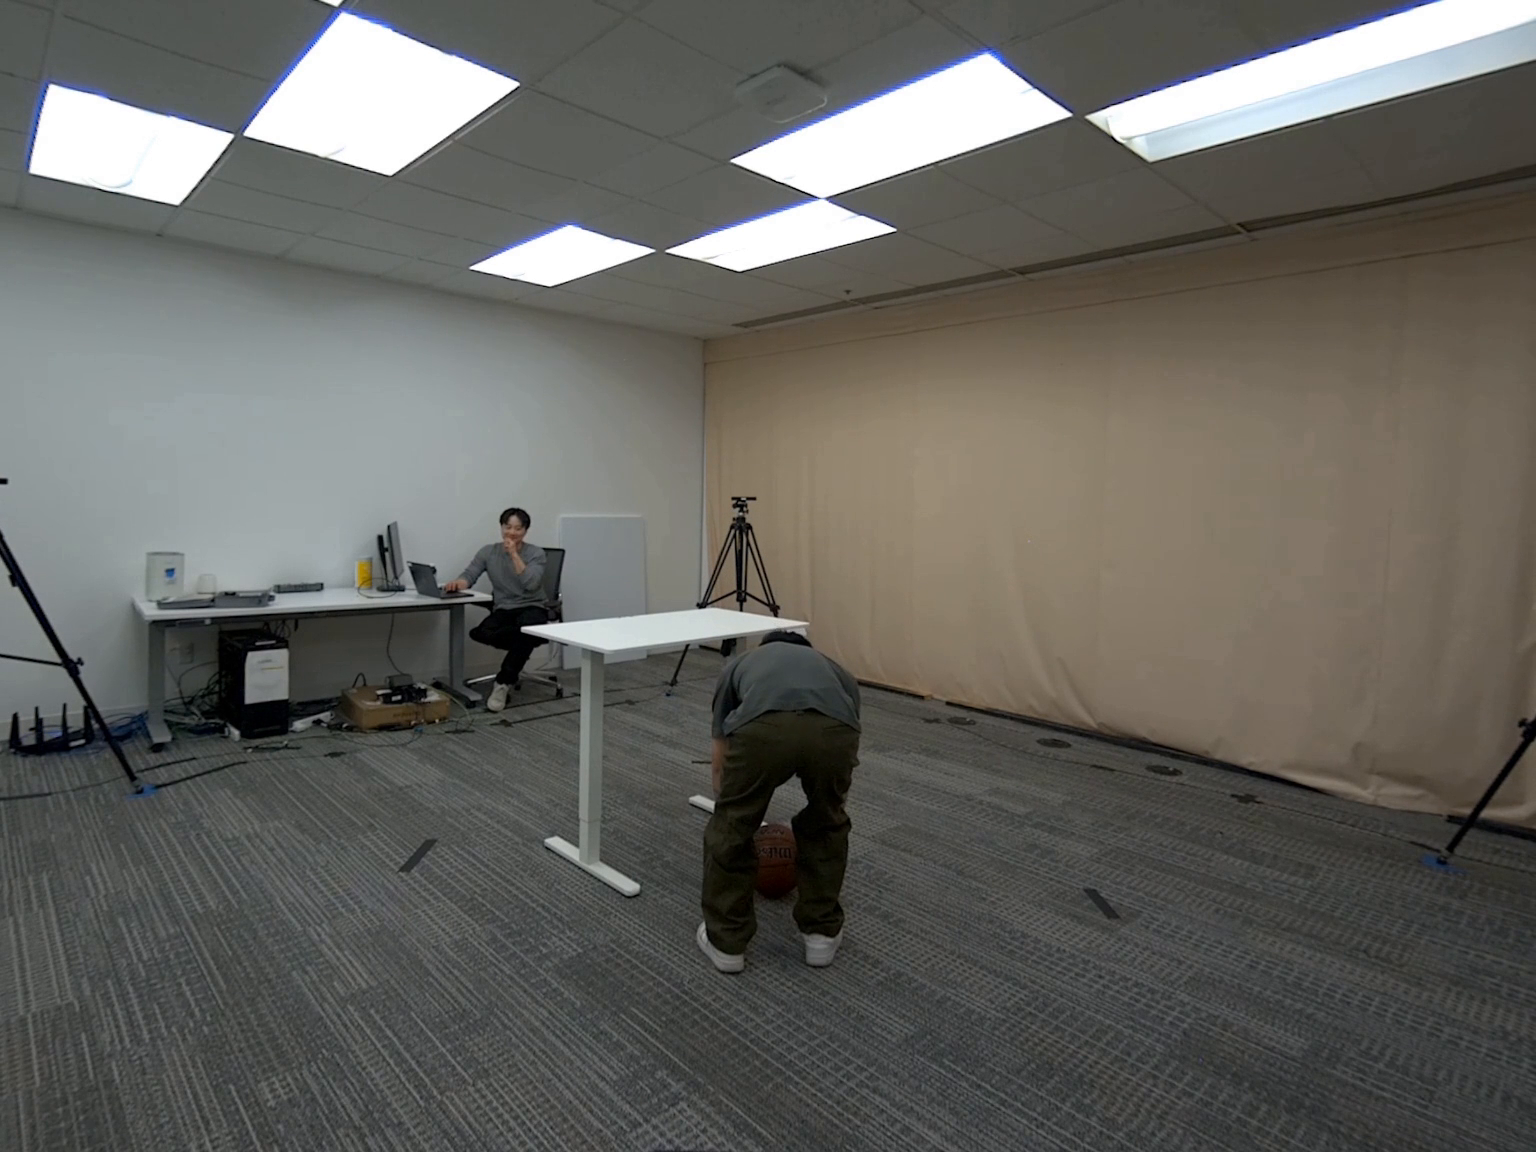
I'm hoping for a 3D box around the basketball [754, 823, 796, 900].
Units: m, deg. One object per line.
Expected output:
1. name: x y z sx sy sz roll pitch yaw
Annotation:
1. basketball: 0.013 1.006 2.969 0.236 0.235 0.237 1 4 -1
